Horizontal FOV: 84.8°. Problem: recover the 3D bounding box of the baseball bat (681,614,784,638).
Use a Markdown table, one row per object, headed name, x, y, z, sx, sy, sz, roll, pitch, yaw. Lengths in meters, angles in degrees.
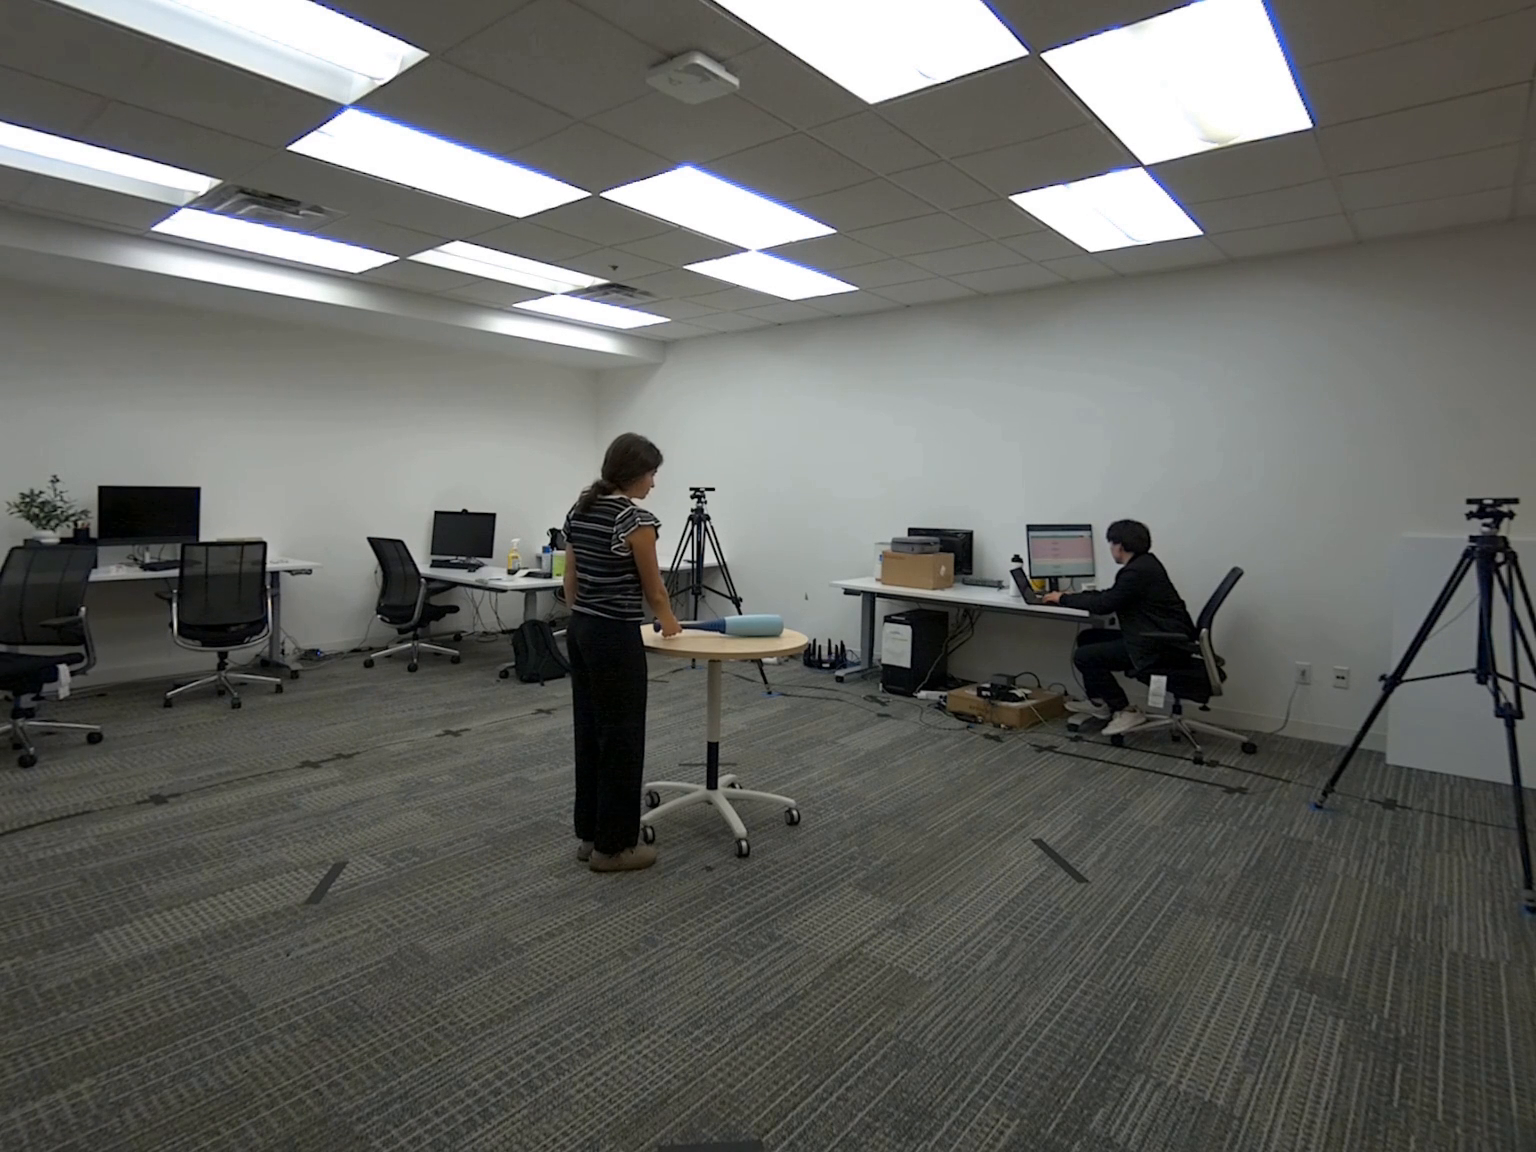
| name | x | y | z | sx | sy | sz | roll | pitch | yaw |
| --- | --- | --- | --- | --- | --- | --- | --- | --- | --- |
| baseball bat | -0.208 | 0.203 | 3.485 | 0.535 | 0.089 | 0.090 | 0 | 4 | -14 |
